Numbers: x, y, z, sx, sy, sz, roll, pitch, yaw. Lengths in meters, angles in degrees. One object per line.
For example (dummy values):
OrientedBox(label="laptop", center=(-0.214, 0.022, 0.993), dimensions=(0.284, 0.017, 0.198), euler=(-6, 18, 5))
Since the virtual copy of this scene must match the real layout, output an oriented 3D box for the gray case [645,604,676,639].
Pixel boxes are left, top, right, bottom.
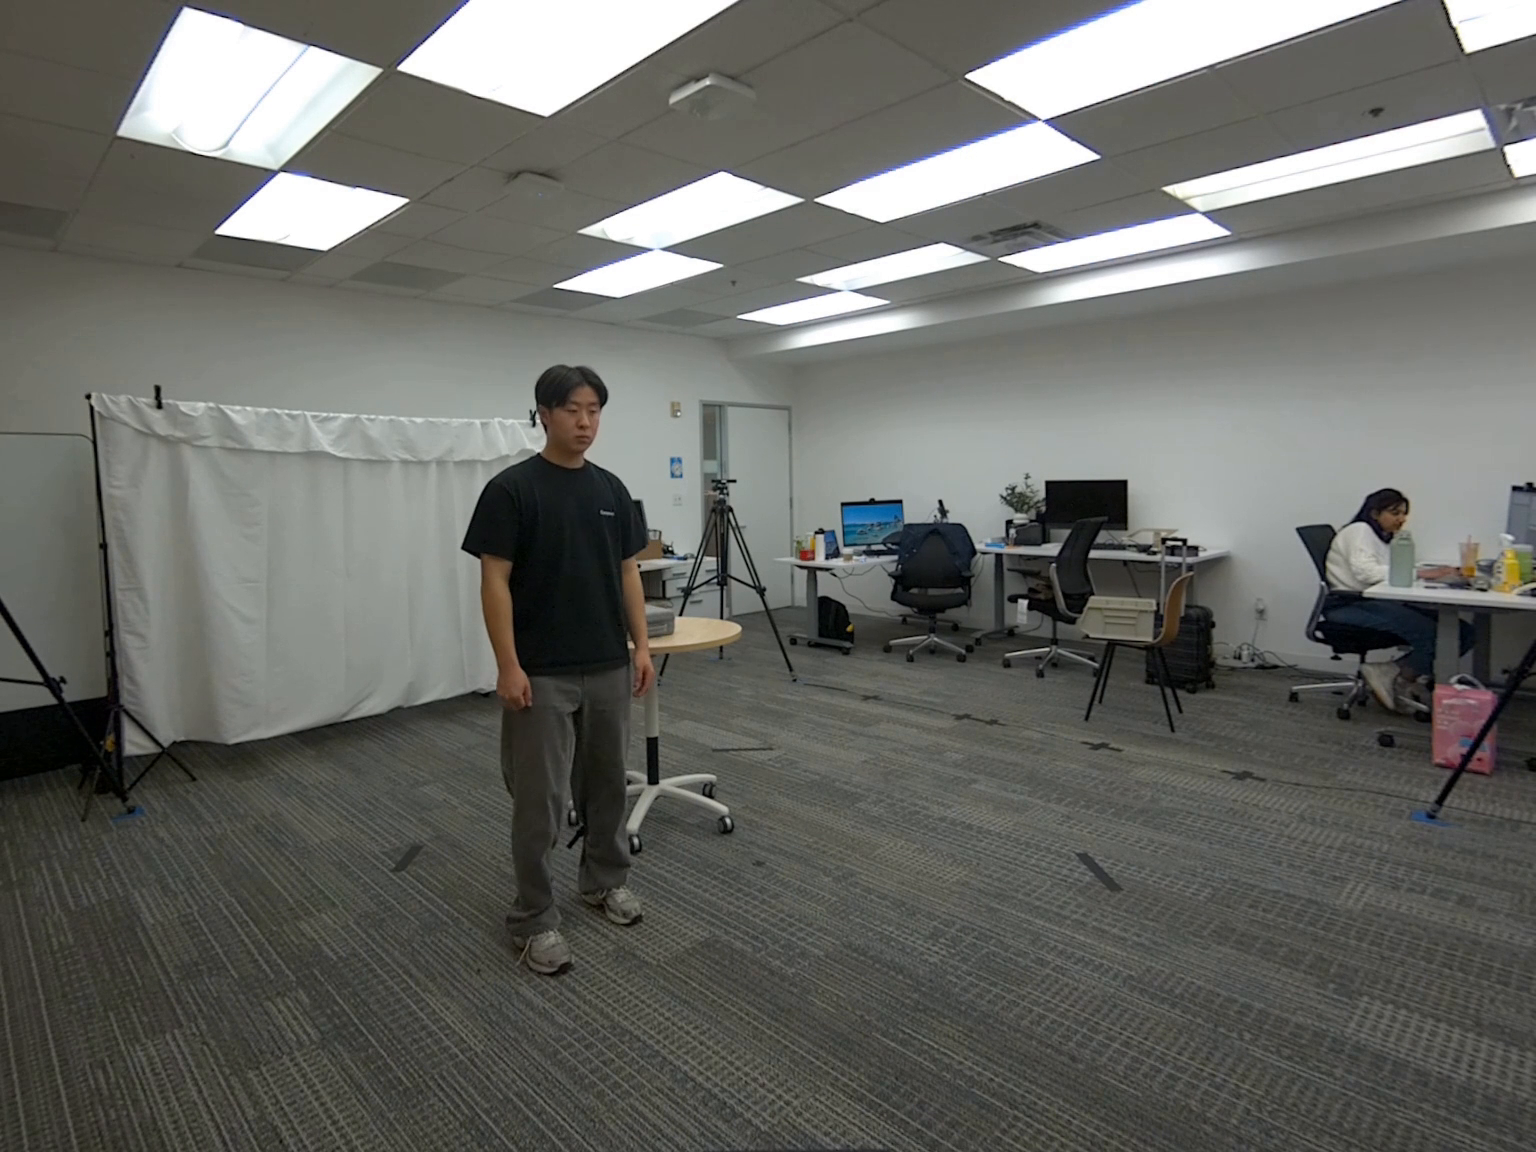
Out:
OrientedBox(label="gray case", center=(-0.523, 0.184, 3.427), dimensions=(0.256, 0.102, 0.296), euler=(-6, 8, -40))
